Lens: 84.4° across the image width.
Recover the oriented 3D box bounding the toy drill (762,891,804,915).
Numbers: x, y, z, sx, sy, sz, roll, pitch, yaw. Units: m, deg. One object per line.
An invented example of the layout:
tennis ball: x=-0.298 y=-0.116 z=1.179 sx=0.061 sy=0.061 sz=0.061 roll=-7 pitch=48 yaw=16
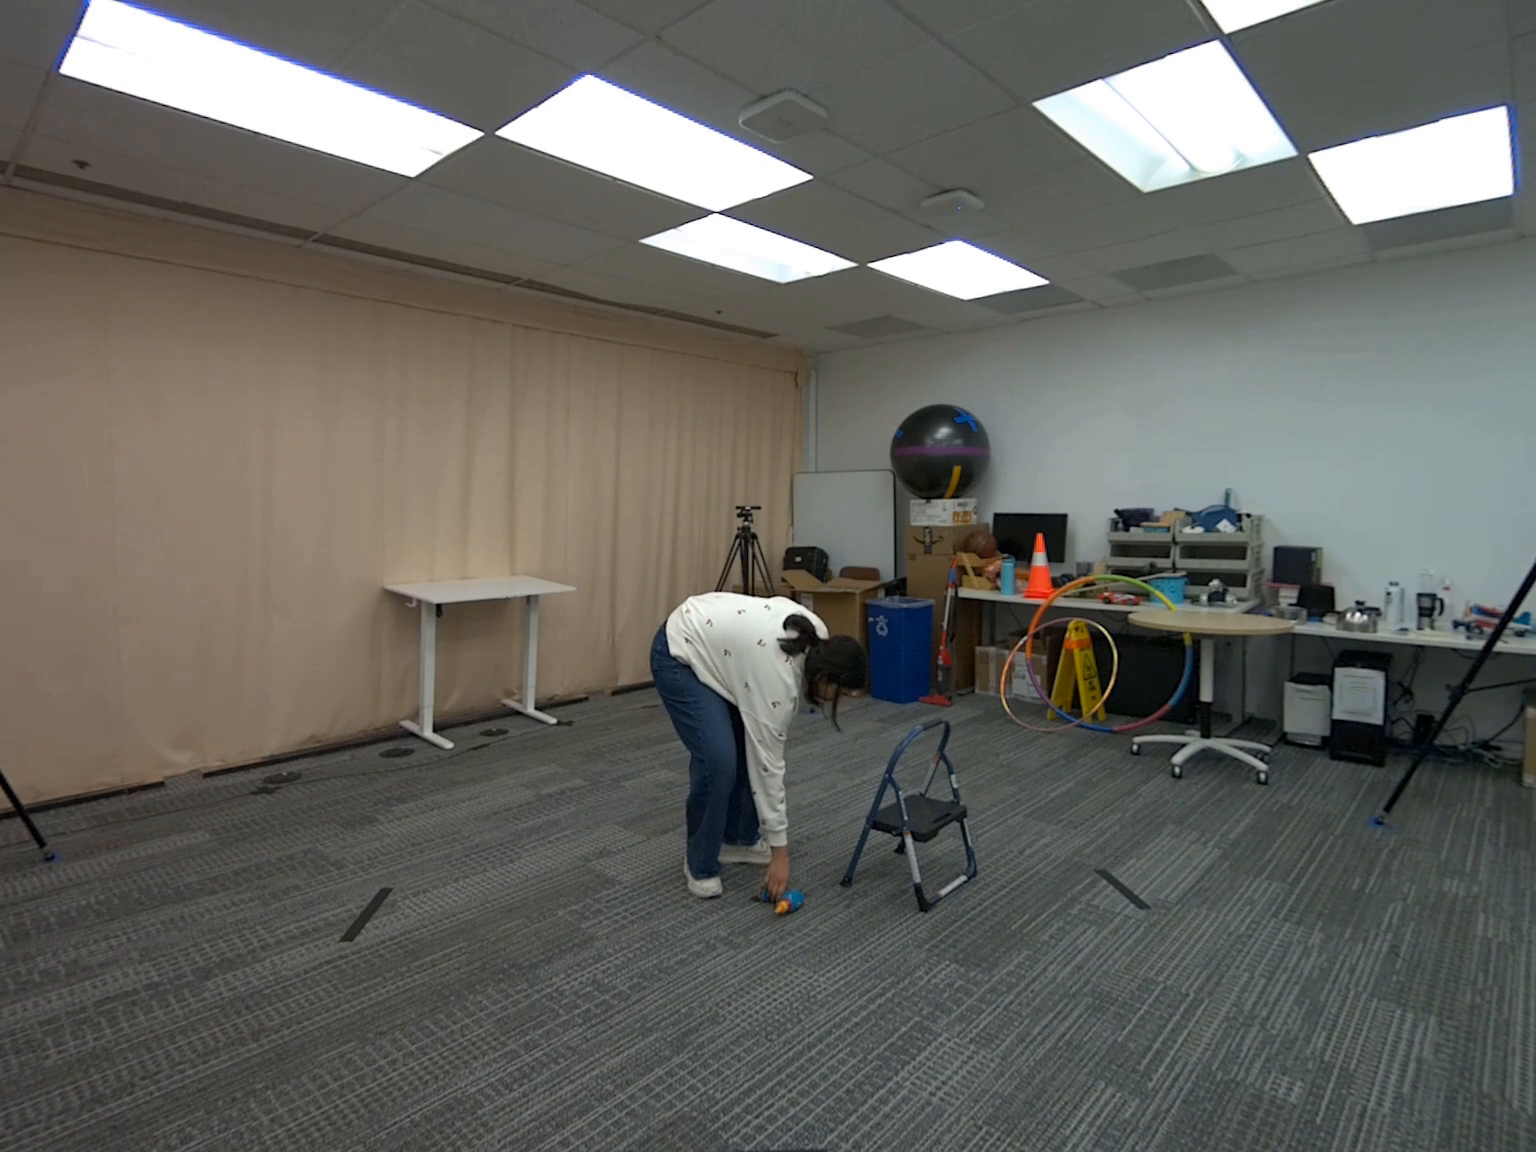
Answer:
toy drill: x=0.044 y=1.126 z=2.913 sx=0.150 sy=0.061 sz=0.165 roll=1 pitch=1 yaw=34
